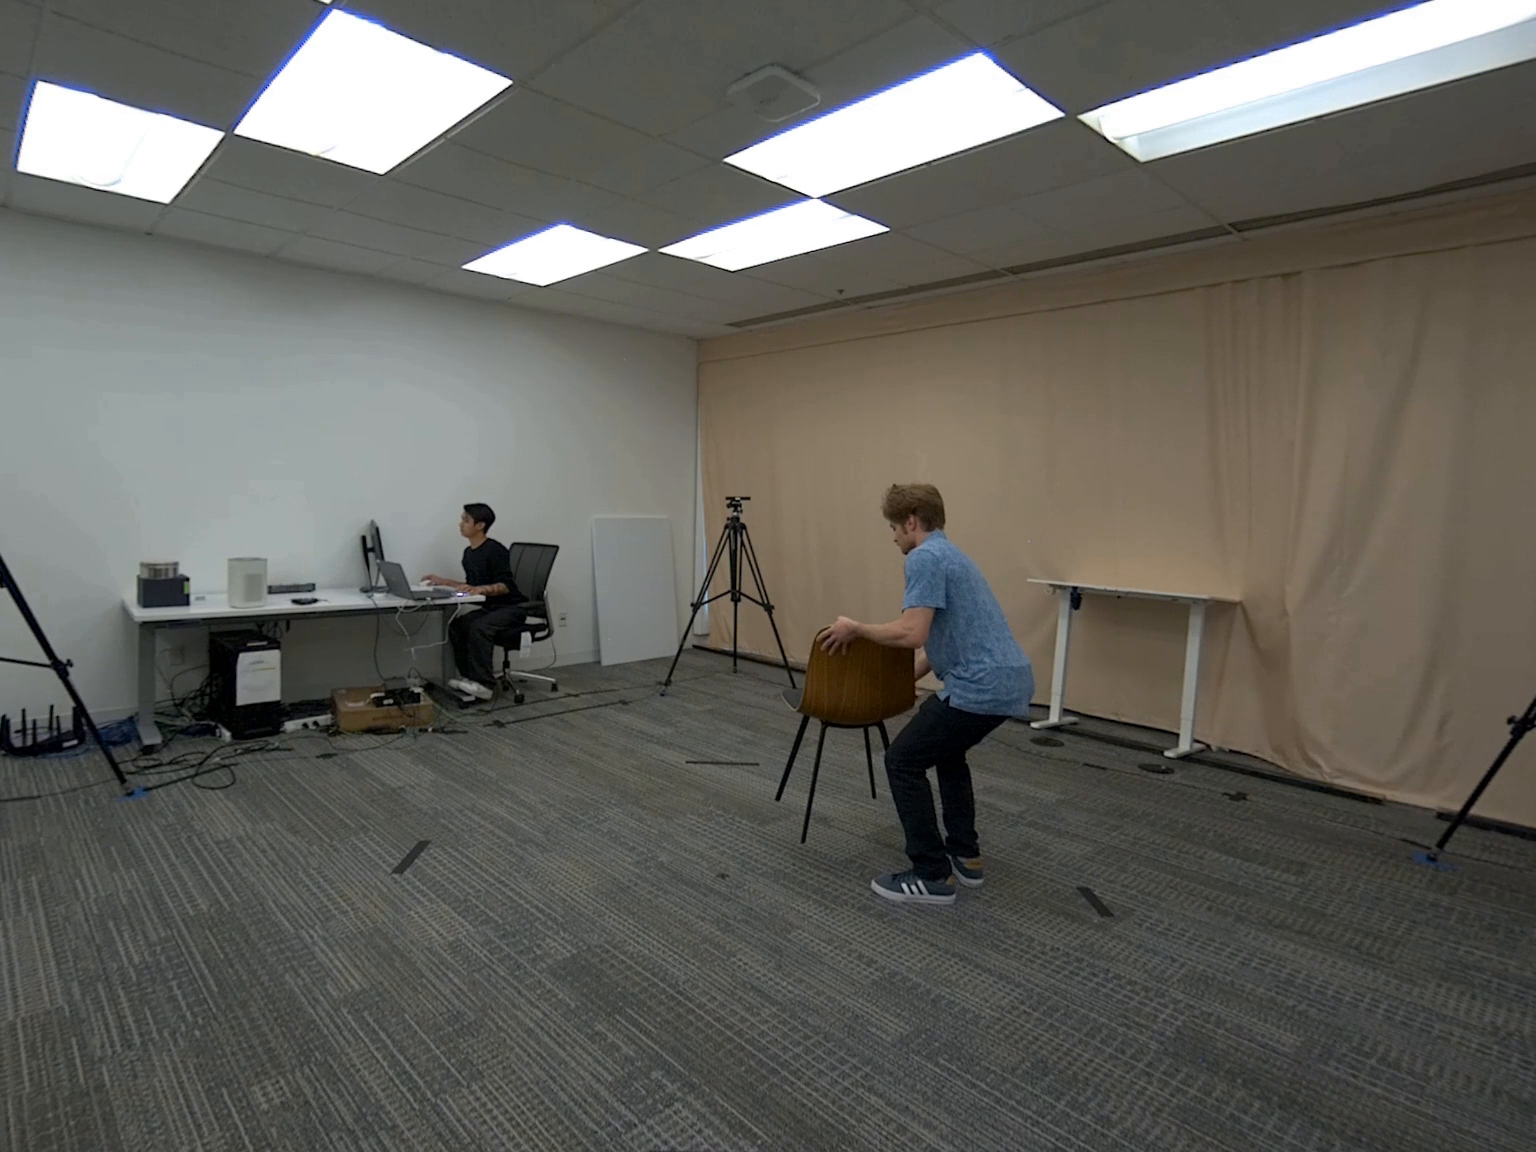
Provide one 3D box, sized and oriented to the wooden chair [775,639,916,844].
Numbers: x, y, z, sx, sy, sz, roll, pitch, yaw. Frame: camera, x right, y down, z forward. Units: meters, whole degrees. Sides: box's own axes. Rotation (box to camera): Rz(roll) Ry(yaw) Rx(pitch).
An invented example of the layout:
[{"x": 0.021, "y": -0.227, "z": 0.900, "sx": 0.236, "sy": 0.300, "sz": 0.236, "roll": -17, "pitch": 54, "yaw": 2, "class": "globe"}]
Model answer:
[{"x": 0.300, "y": 0.564, "z": 3.408, "sx": 0.474, "sy": 0.872, "sz": 0.531, "roll": 0, "pitch": 8, "yaw": -12, "class": "wooden chair"}]
